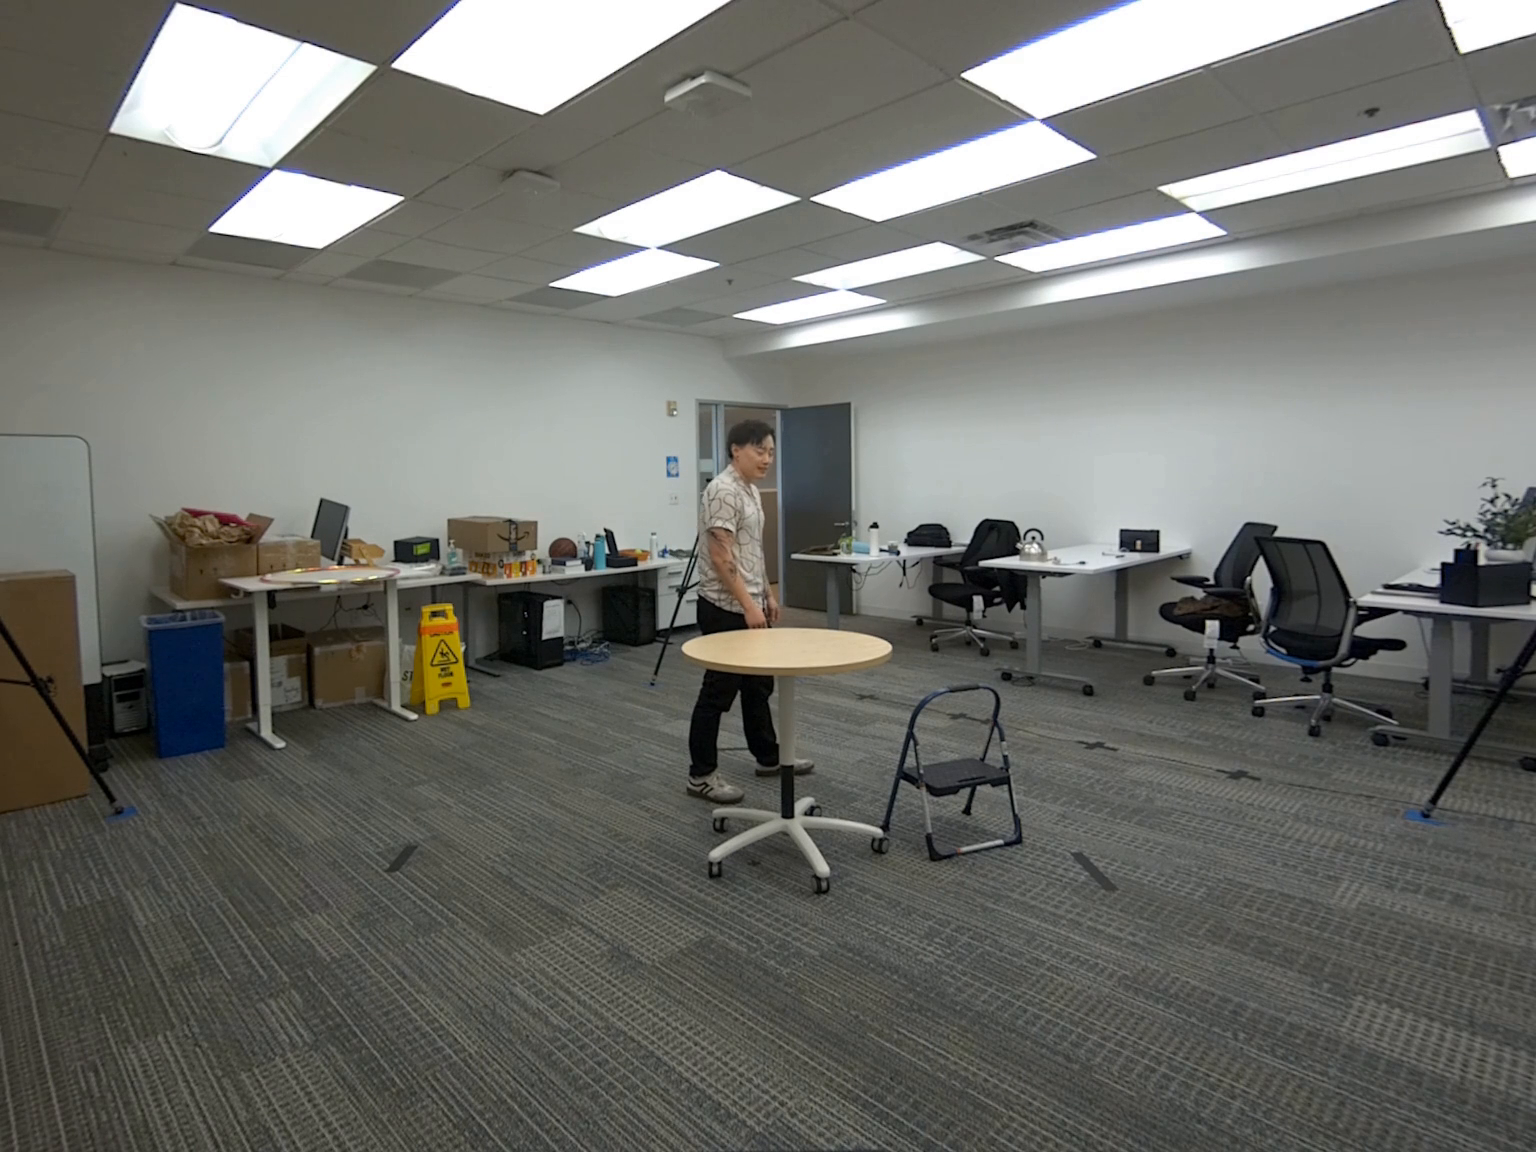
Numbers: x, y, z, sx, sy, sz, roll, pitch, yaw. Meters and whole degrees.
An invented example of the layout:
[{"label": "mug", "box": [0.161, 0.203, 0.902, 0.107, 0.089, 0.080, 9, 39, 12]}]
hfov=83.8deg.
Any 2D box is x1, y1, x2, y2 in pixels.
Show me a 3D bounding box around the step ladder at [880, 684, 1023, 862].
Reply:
[{"label": "step ladder", "box": [0.706, 0.709, 3.300, 0.422, 0.604, 0.358, -2, 4, -25]}]
